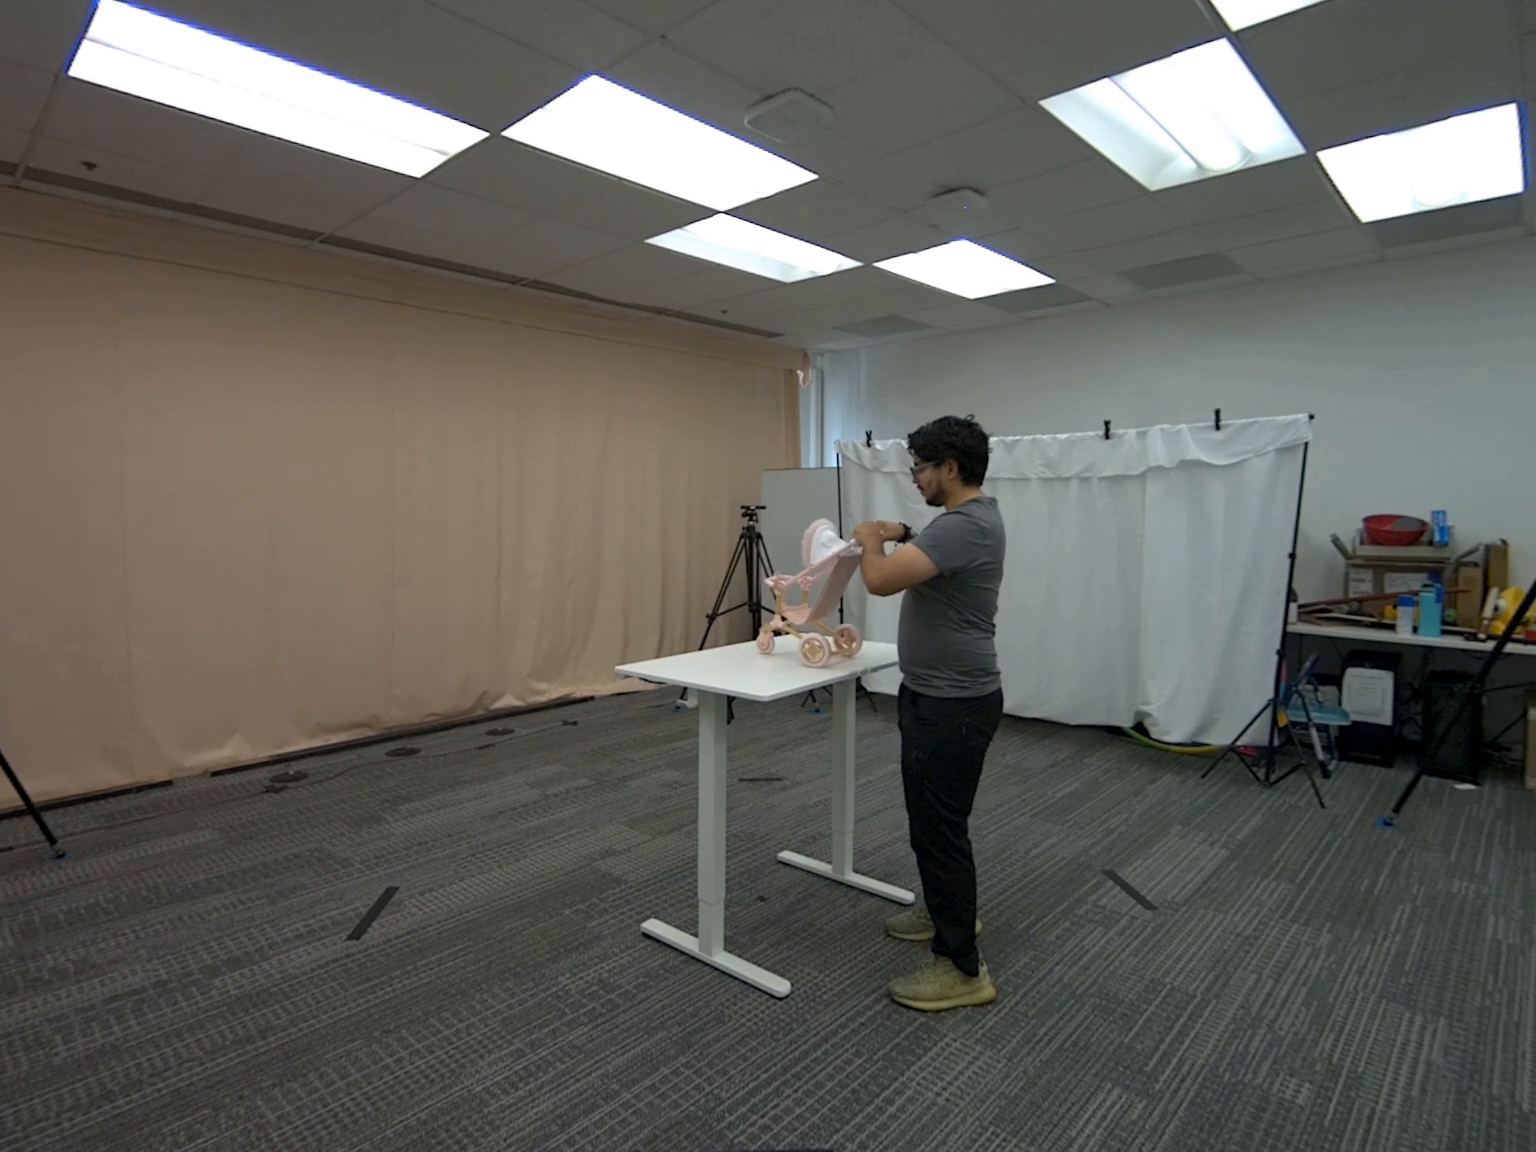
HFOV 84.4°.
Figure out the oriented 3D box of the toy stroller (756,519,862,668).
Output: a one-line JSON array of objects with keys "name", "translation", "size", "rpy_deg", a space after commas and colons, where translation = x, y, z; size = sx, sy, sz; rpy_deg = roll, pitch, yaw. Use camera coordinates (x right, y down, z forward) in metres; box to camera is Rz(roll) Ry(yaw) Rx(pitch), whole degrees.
[{"name": "toy stroller", "translation": [0.162, 0.055, 2.769], "size": [0.353, 0.532, 0.273], "rpy_deg": [21, 14, 34]}]
